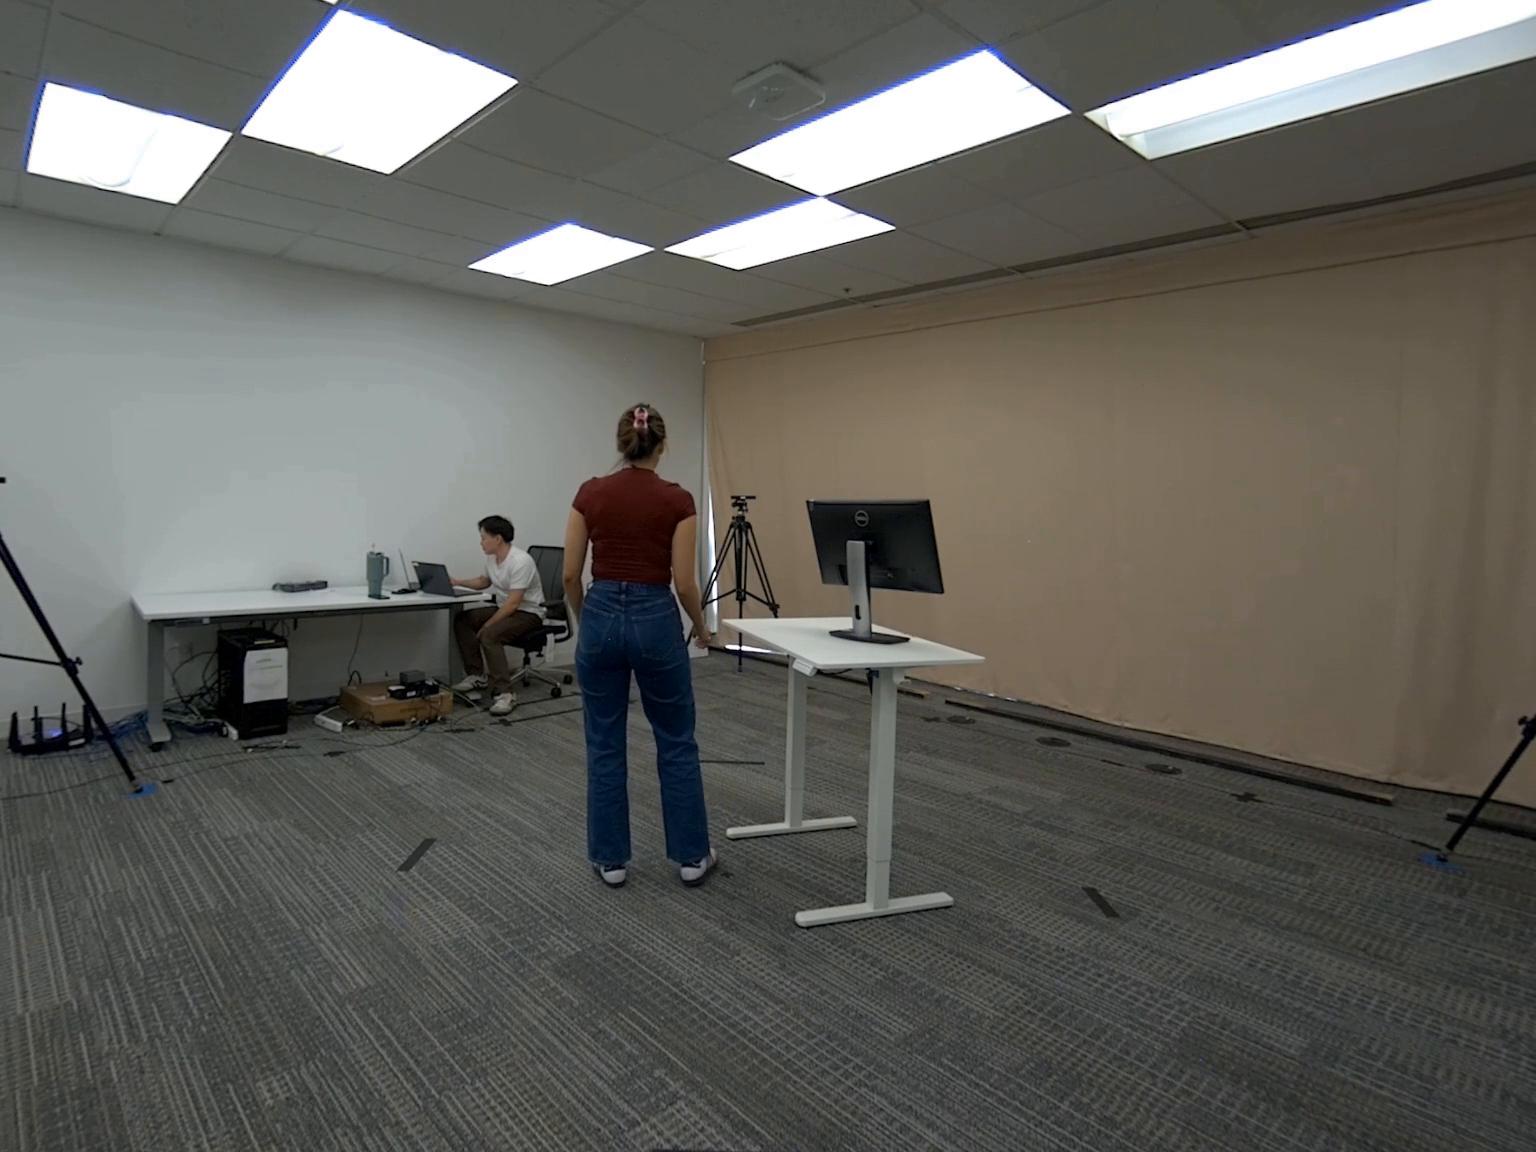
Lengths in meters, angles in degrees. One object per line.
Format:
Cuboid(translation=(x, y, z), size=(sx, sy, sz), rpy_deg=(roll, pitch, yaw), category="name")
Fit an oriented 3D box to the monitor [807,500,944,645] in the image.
Cuboid(translation=(0.360, -0.023, 3.108), size=(0.552, 0.520, 0.183), rpy_deg=(3, 8, 40), category="monitor")
